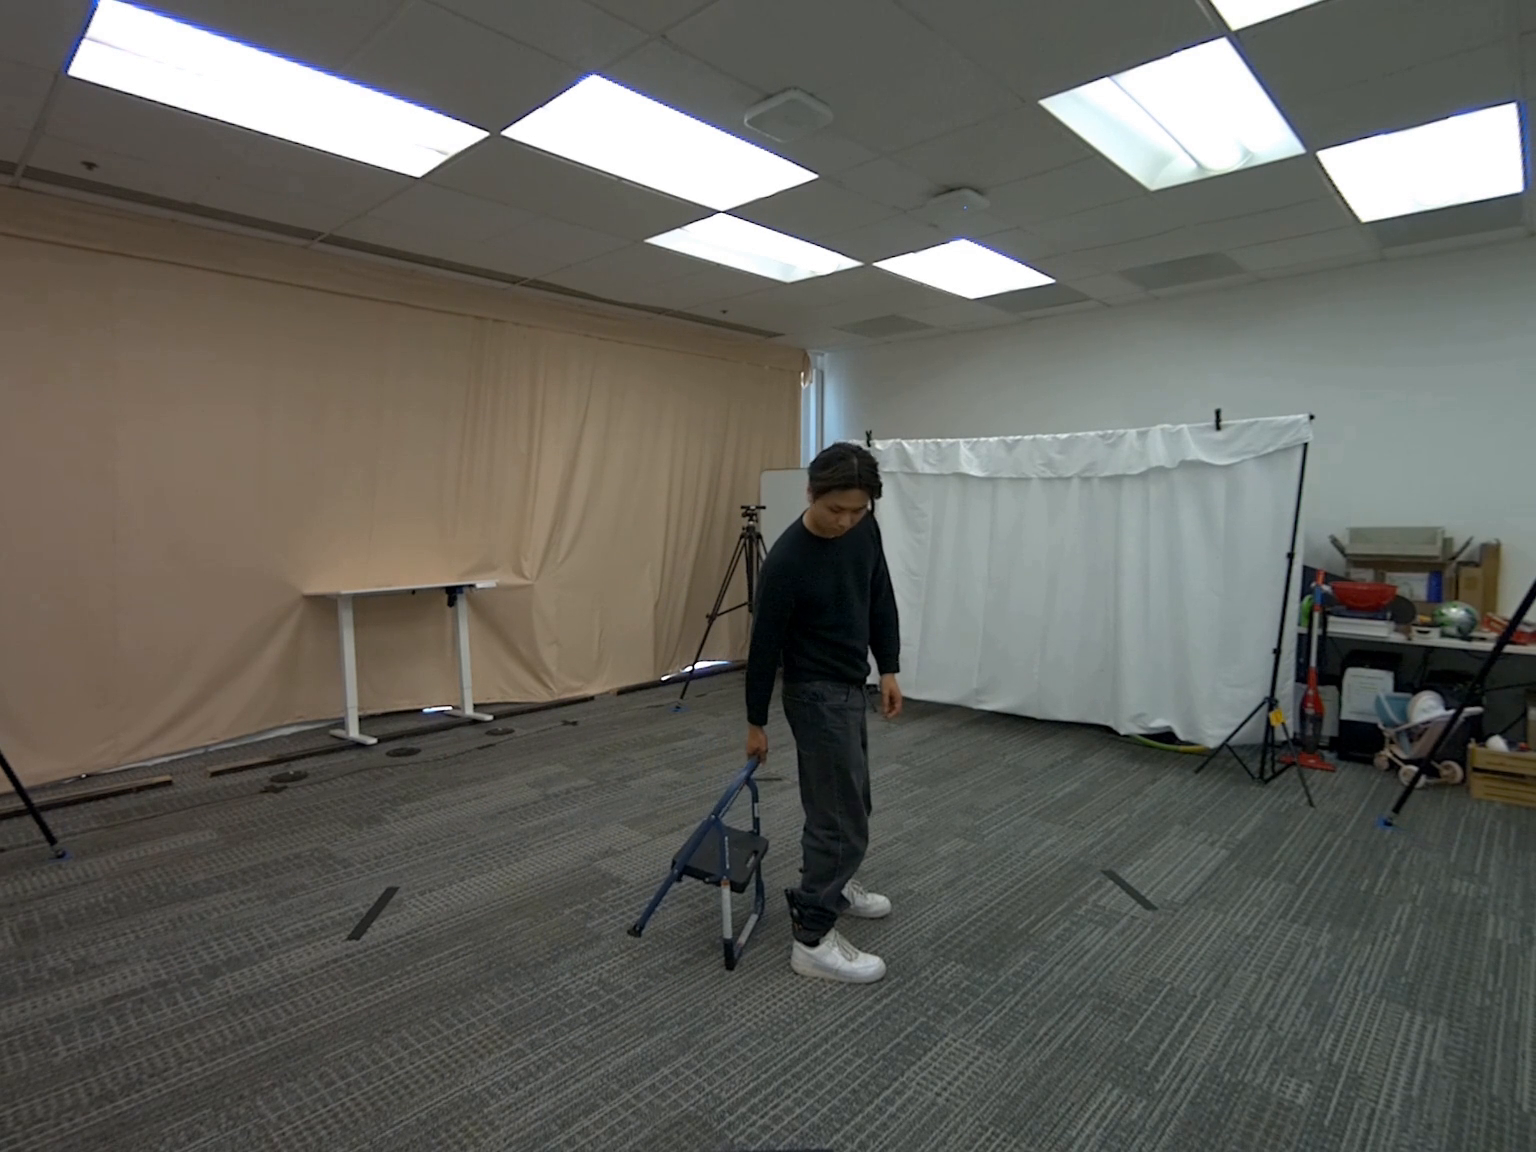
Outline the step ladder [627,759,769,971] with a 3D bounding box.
[{"bbox_3d":[-0.158,0.844,2.726,0.355,0.604,0.424,13,7,14],"label":"step ladder"}]
